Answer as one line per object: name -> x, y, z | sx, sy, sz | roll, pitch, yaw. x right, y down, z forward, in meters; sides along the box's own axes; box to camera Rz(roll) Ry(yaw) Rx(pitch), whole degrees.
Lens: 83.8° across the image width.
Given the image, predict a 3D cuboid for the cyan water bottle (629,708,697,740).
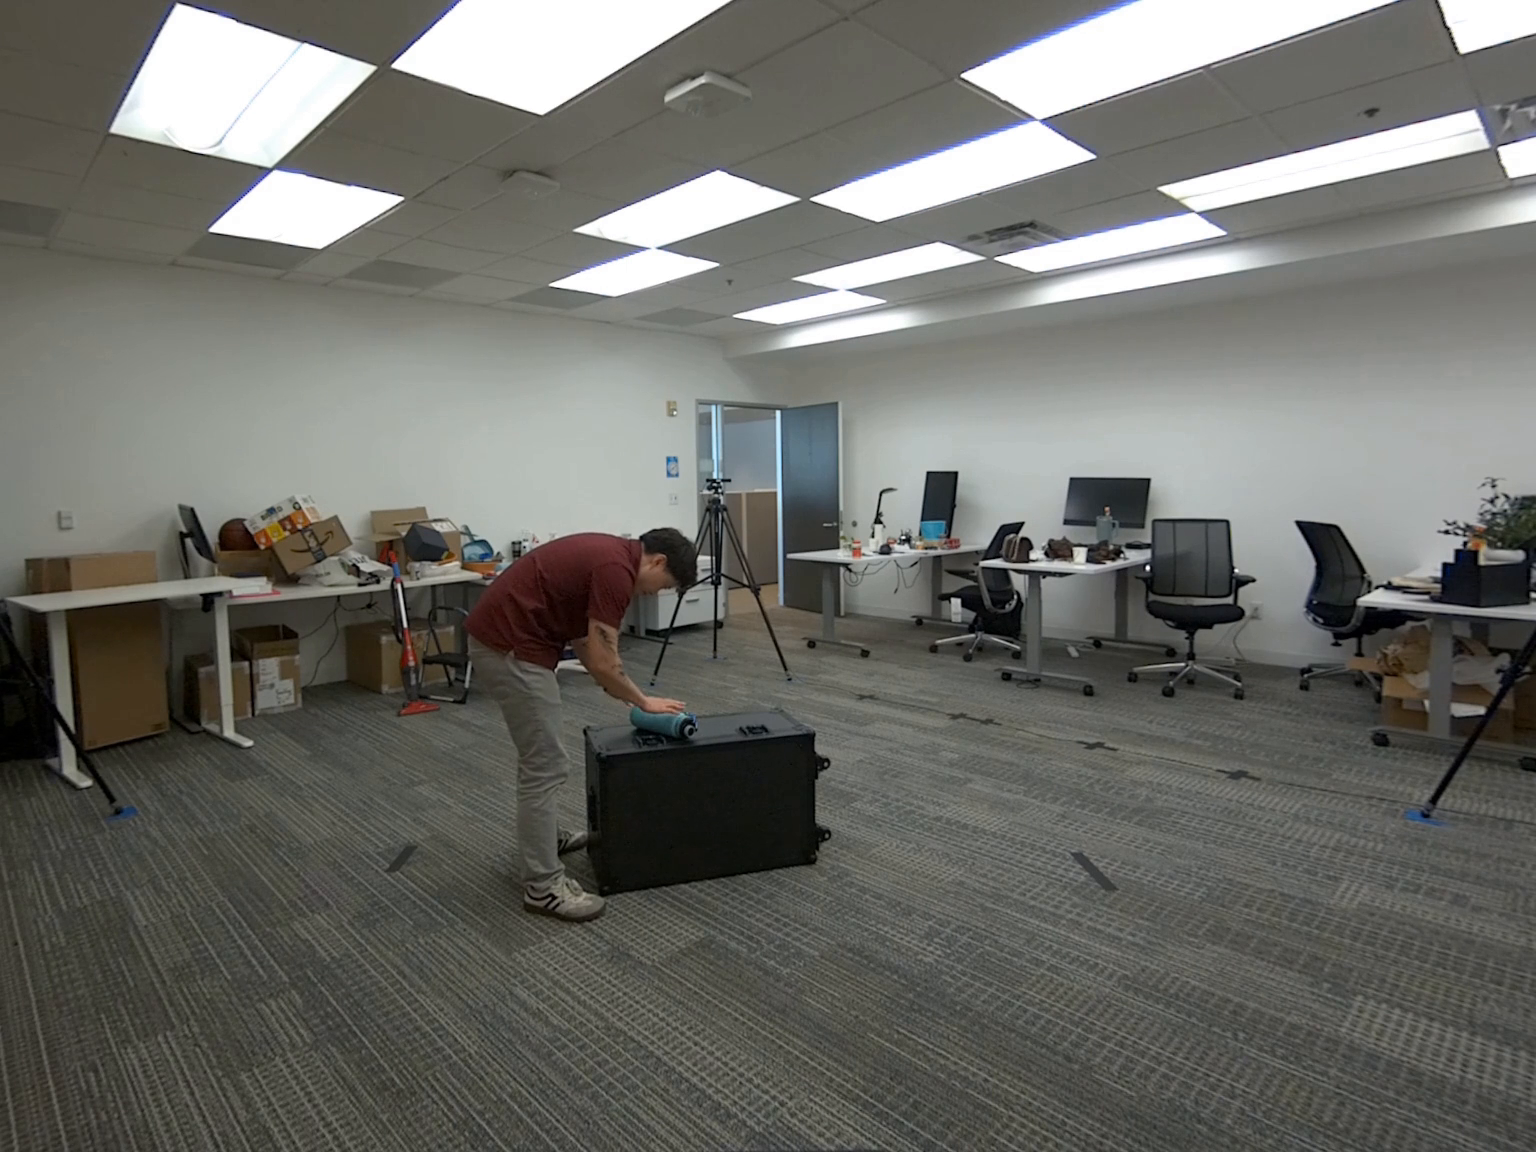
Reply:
cyan water bottle -> -0.371, 0.520, 3.071 | 0.292, 0.092, 0.090 | 4, 7, 39
